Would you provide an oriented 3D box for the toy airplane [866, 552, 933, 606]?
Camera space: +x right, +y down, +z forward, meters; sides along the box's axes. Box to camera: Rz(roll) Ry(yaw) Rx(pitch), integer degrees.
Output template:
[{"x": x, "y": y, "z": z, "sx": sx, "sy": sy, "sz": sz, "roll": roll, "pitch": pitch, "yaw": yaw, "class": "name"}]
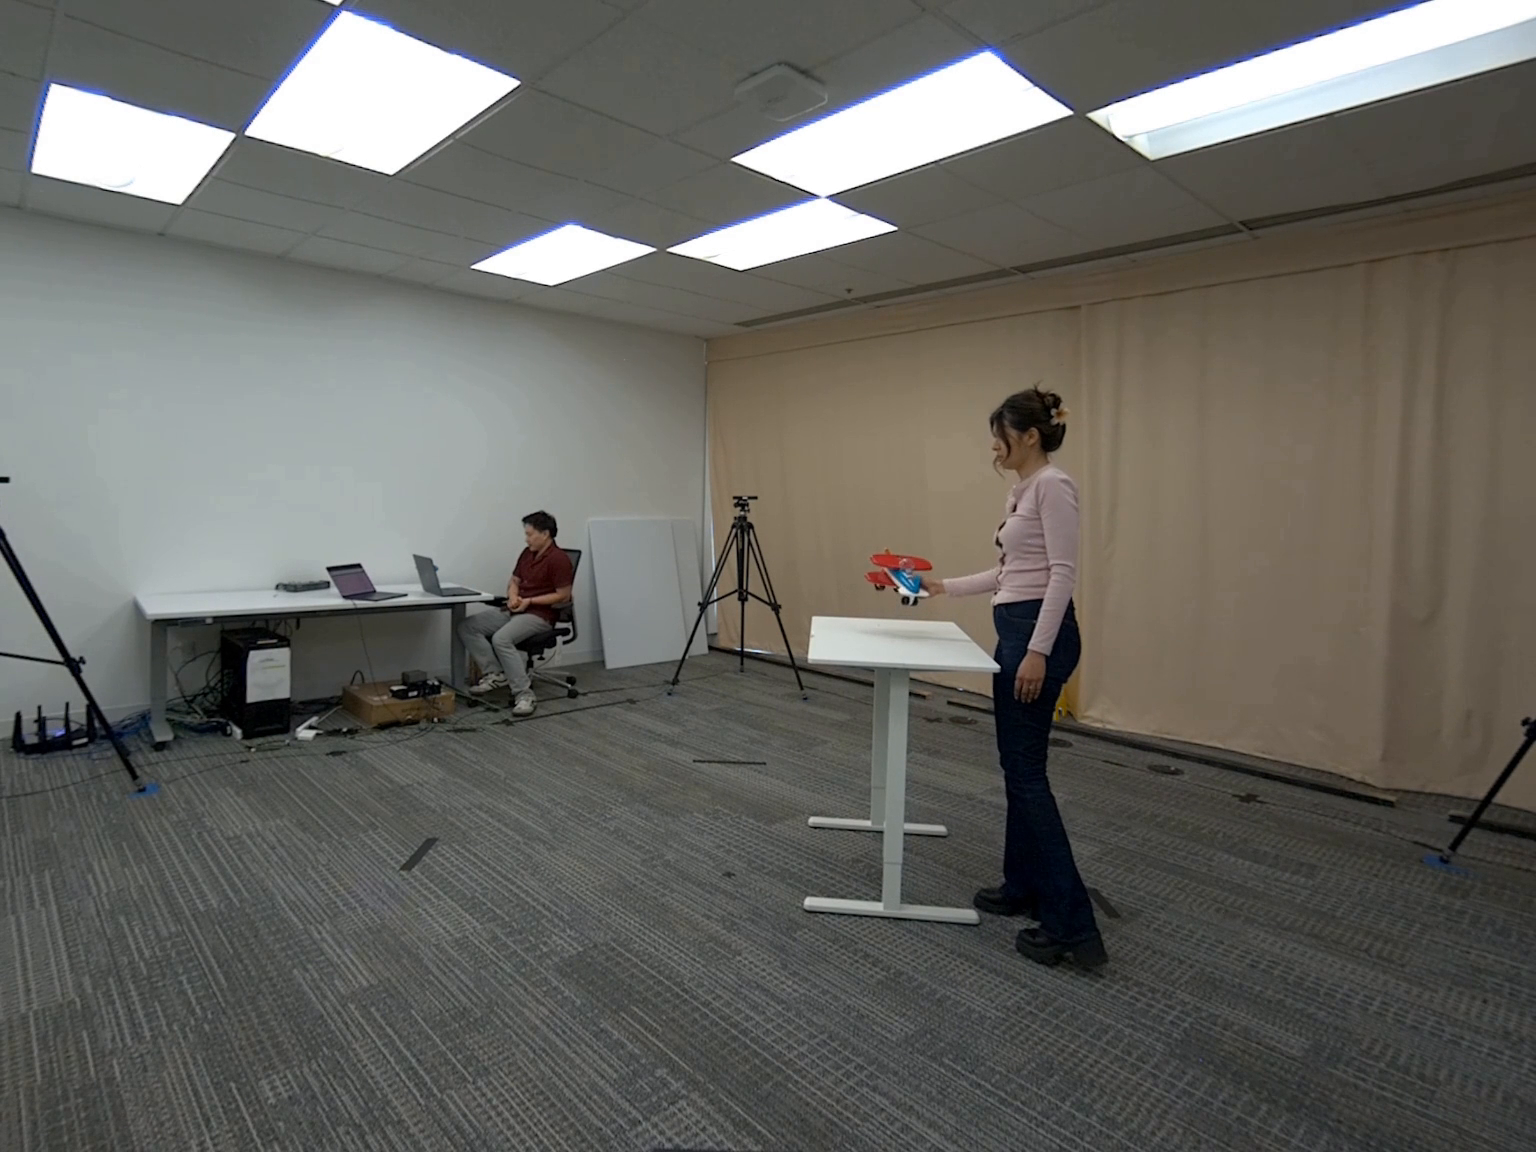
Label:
[{"x": 0.521, "y": 0.015, "z": 3.243, "sx": 0.245, "sy": 0.155, "sz": 0.267, "roll": -3, "pitch": 19, "yaw": -41, "class": "toy airplane"}]
